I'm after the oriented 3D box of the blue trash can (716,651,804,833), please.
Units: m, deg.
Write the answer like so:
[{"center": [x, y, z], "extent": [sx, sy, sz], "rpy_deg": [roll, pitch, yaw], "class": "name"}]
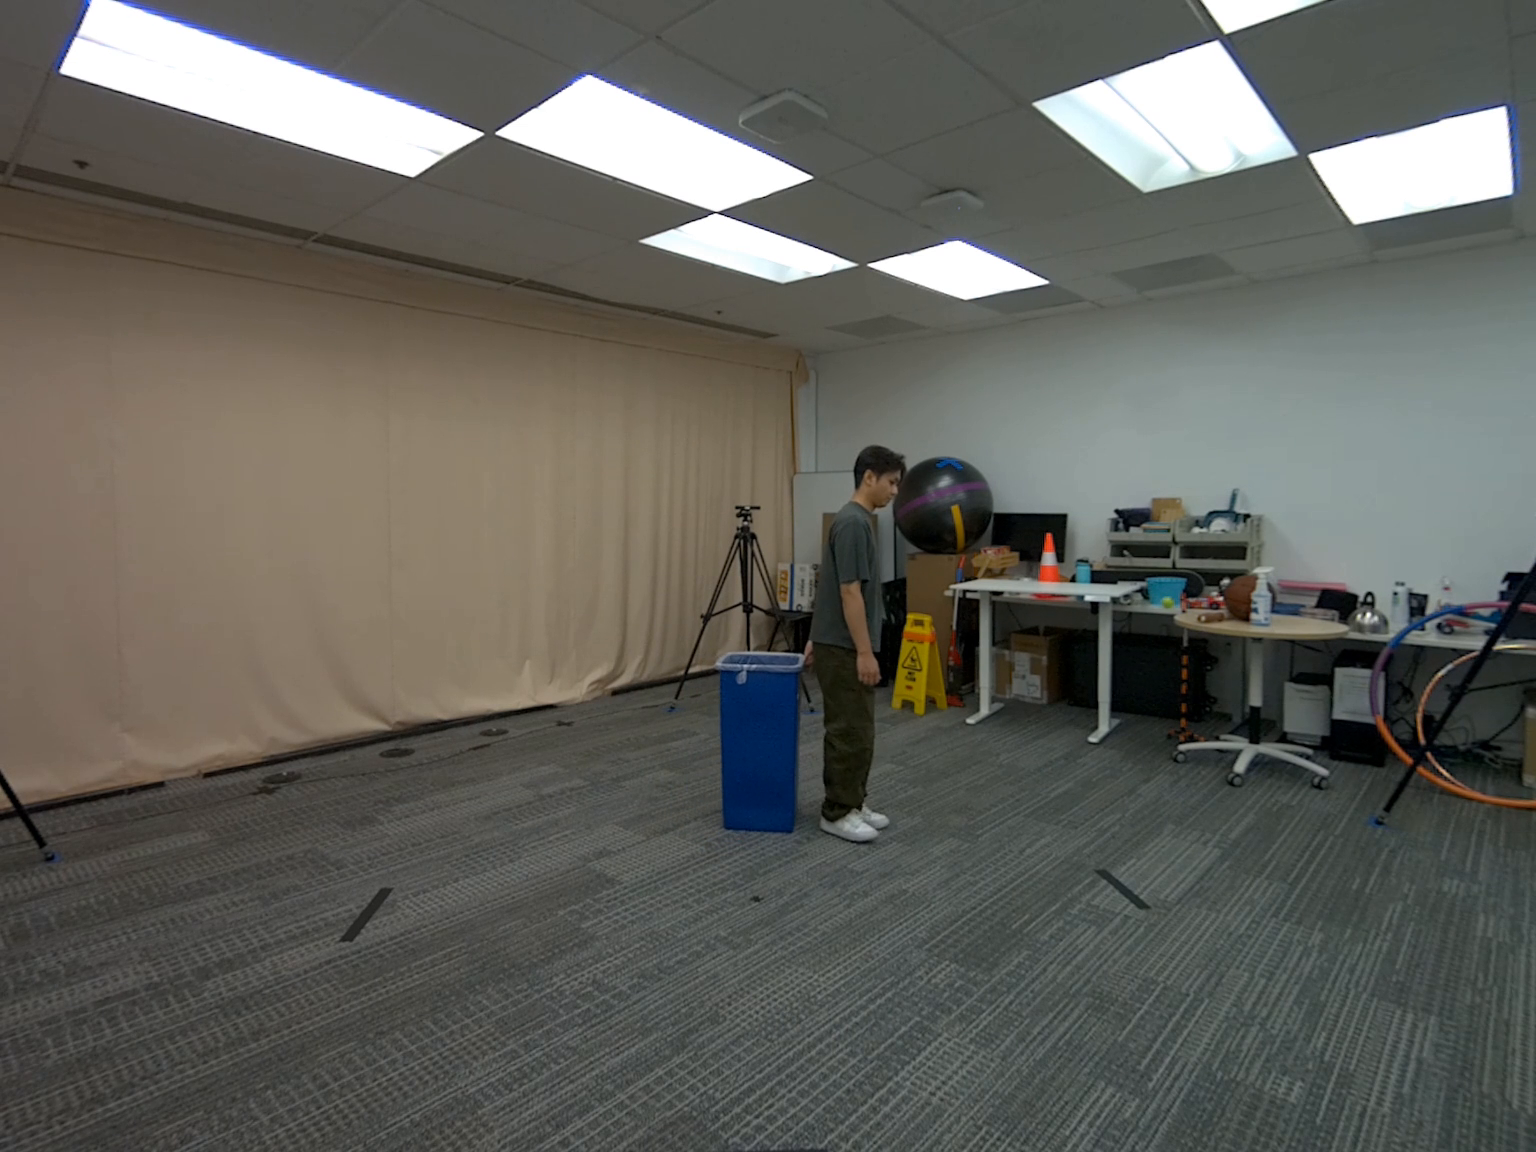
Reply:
[{"center": [-0.029, 0.726, 3.750], "extent": [0.381, 0.712, 0.372], "rpy_deg": [0, 3, 7], "class": "blue trash can"}]
